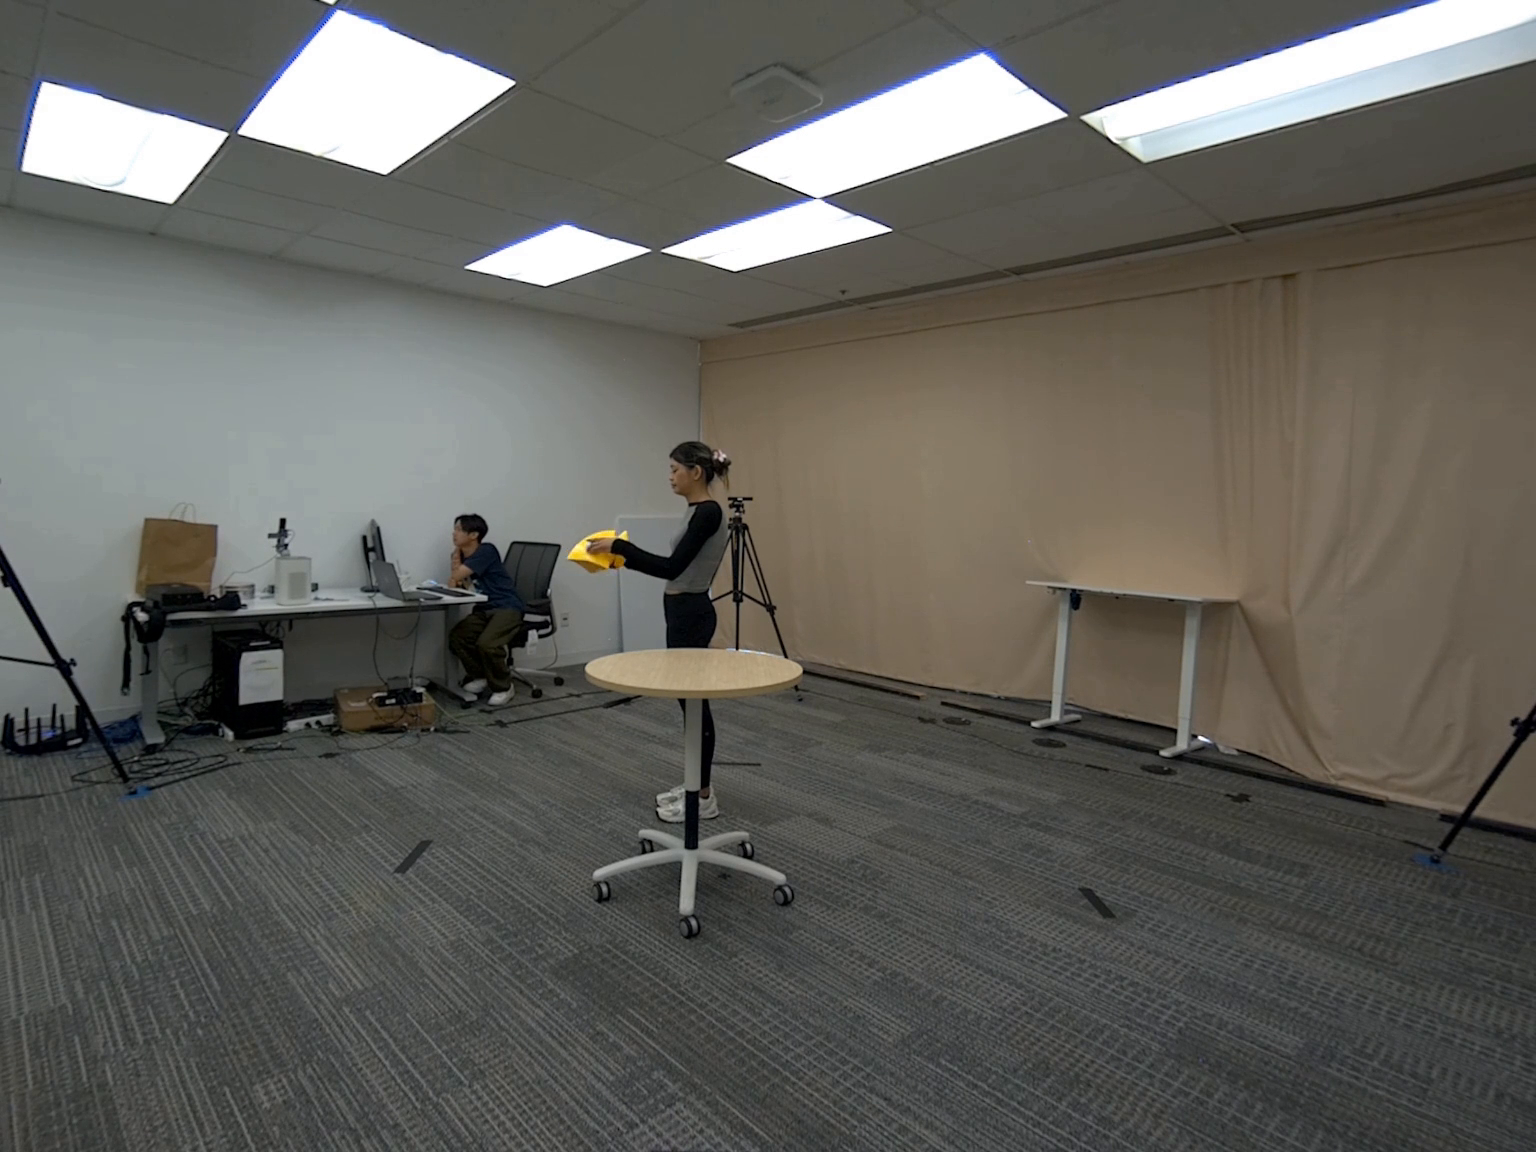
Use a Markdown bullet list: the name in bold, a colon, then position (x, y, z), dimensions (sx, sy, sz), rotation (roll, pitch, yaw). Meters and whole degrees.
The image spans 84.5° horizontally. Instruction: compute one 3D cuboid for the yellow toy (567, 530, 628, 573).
- **yellow toy**: position (-0.752, -0.118, 3.642), dimensions (0.225, 0.194, 0.208), rotation (10, -11, -31)
